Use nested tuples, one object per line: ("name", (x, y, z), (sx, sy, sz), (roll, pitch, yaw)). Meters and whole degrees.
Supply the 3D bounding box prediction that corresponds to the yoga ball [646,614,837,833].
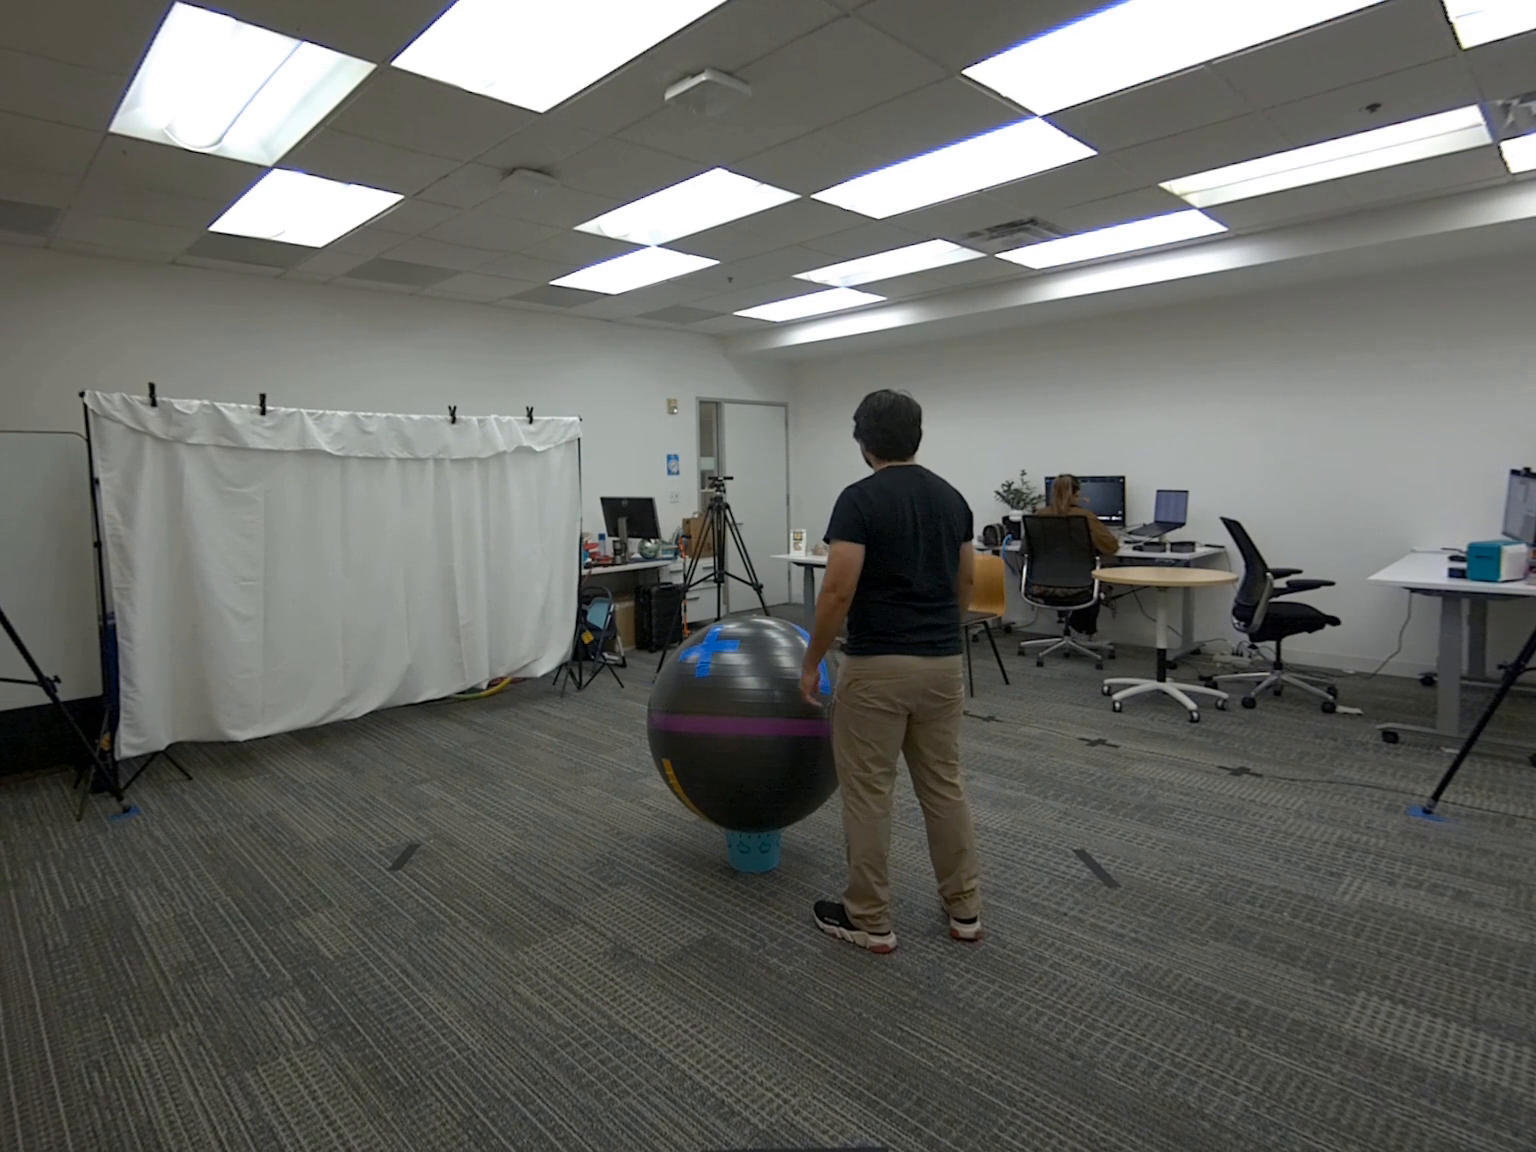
("yoga ball", (-0.063, 0.529, 3.099), (0.757, 0.755, 0.762), (-1, 5, -2))
